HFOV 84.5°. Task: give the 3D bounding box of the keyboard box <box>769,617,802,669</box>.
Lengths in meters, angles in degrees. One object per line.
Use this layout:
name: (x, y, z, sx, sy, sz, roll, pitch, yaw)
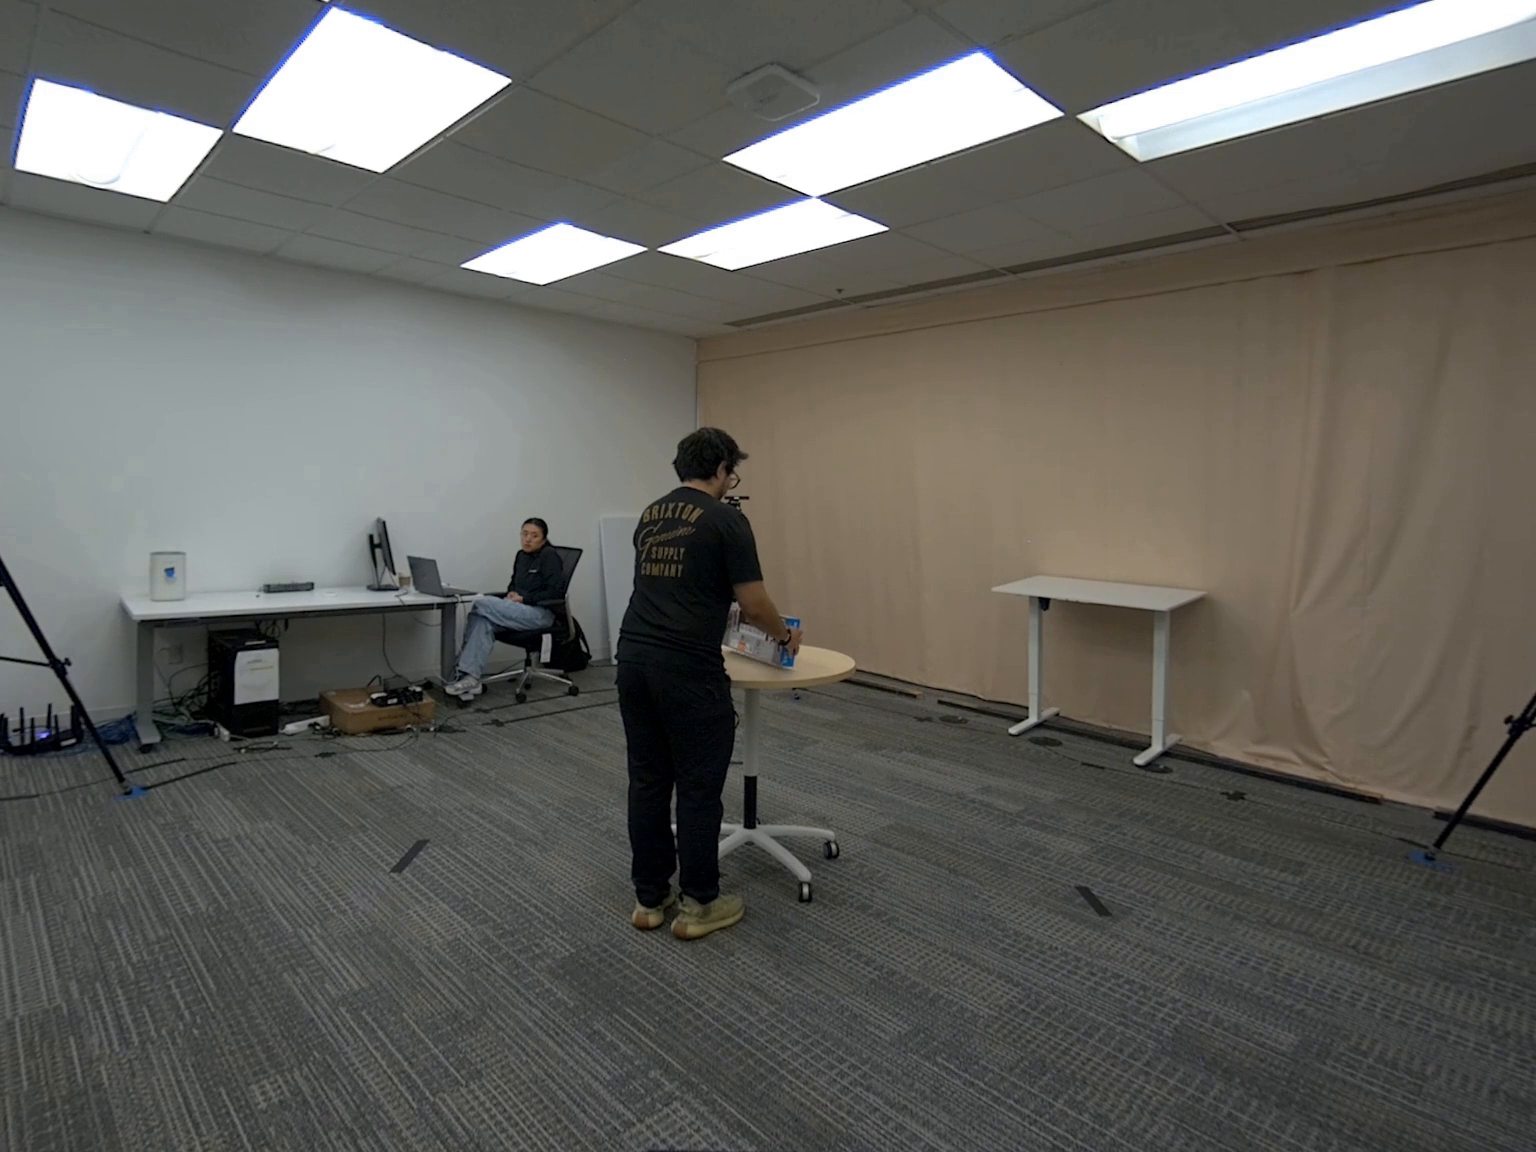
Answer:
keyboard box: (-0.038, 0.215, 3.150, 0.058, 0.176, 0.447, 6, 3, -30)
